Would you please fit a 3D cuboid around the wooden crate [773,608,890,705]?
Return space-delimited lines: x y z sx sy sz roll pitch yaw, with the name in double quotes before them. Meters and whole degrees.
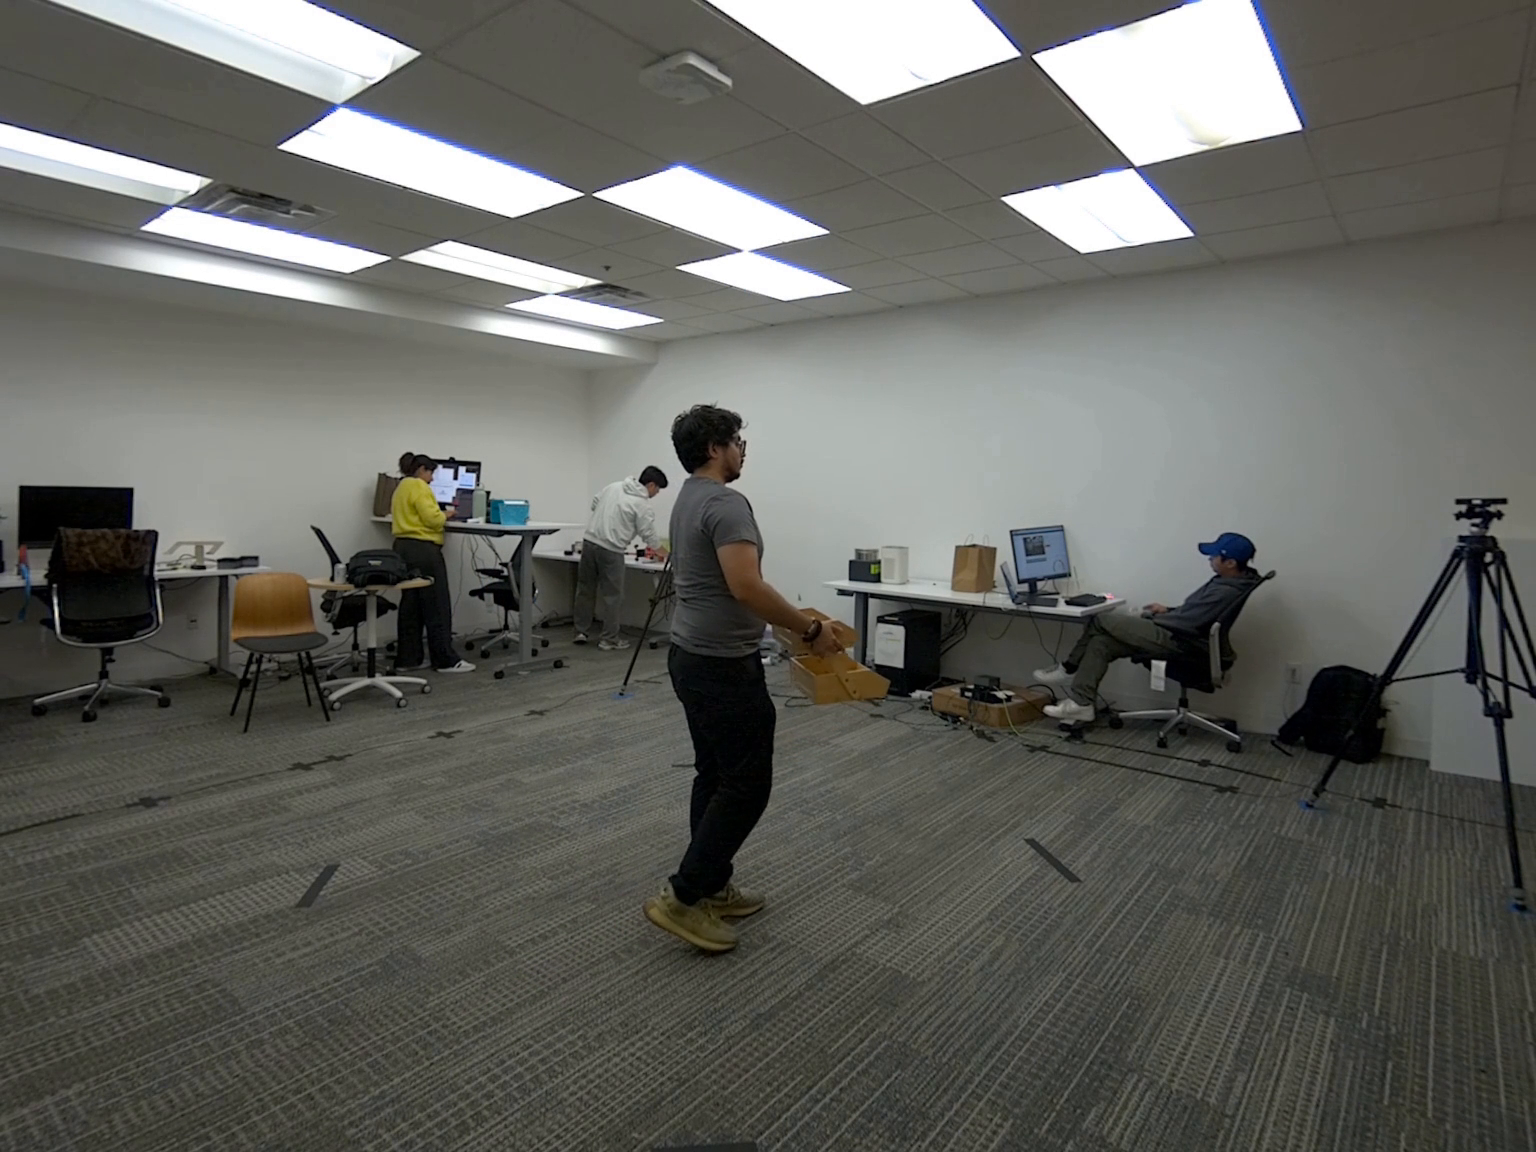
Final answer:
"wooden crate" 0.189 0.250 2.808 0.299 0.272 0.330 -6 6 -12
